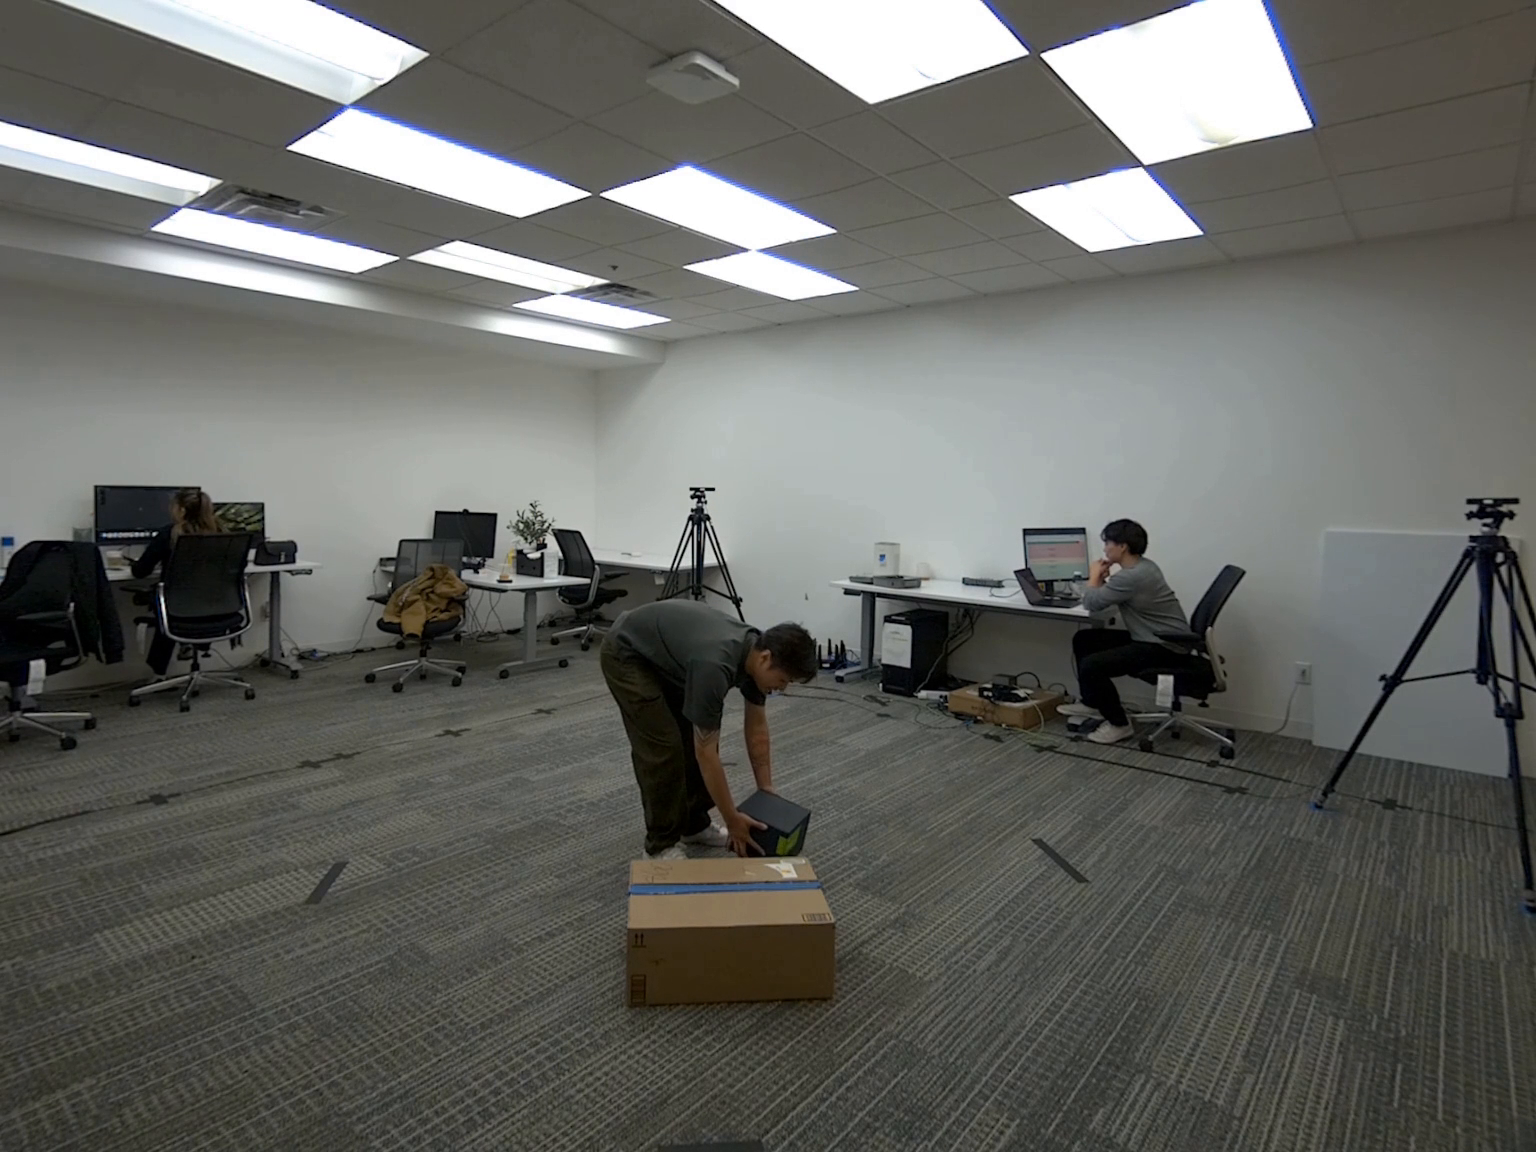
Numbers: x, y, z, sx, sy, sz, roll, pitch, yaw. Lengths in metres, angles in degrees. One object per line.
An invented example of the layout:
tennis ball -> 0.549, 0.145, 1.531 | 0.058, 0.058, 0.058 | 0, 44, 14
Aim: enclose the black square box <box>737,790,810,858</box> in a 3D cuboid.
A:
black square box -> -0.002, 0.912, 3.045 | 0.223, 0.155, 0.223 | 16, 11, 23
